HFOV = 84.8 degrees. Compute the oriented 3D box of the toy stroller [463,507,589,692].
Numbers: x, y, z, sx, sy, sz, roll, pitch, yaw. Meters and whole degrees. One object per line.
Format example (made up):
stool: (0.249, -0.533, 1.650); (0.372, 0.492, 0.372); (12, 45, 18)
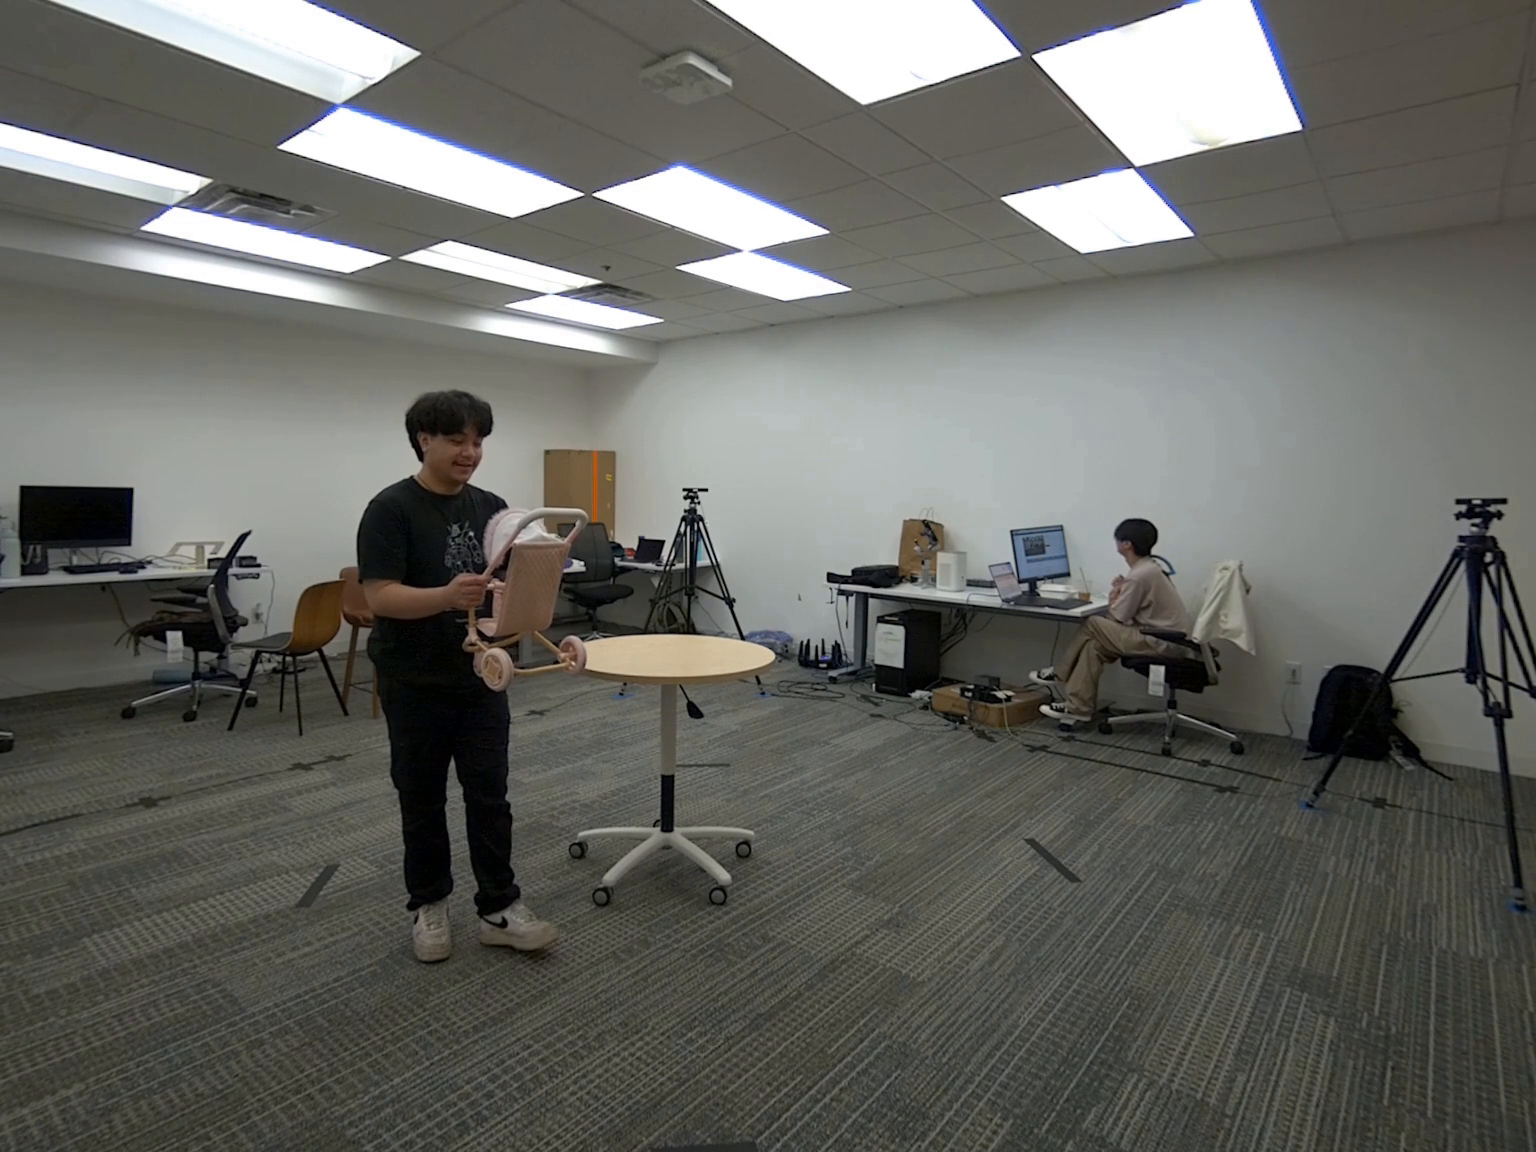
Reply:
toy stroller: (-0.694, 0.056, 2.305); (0.354, 0.531, 0.273); (15, 13, 42)
